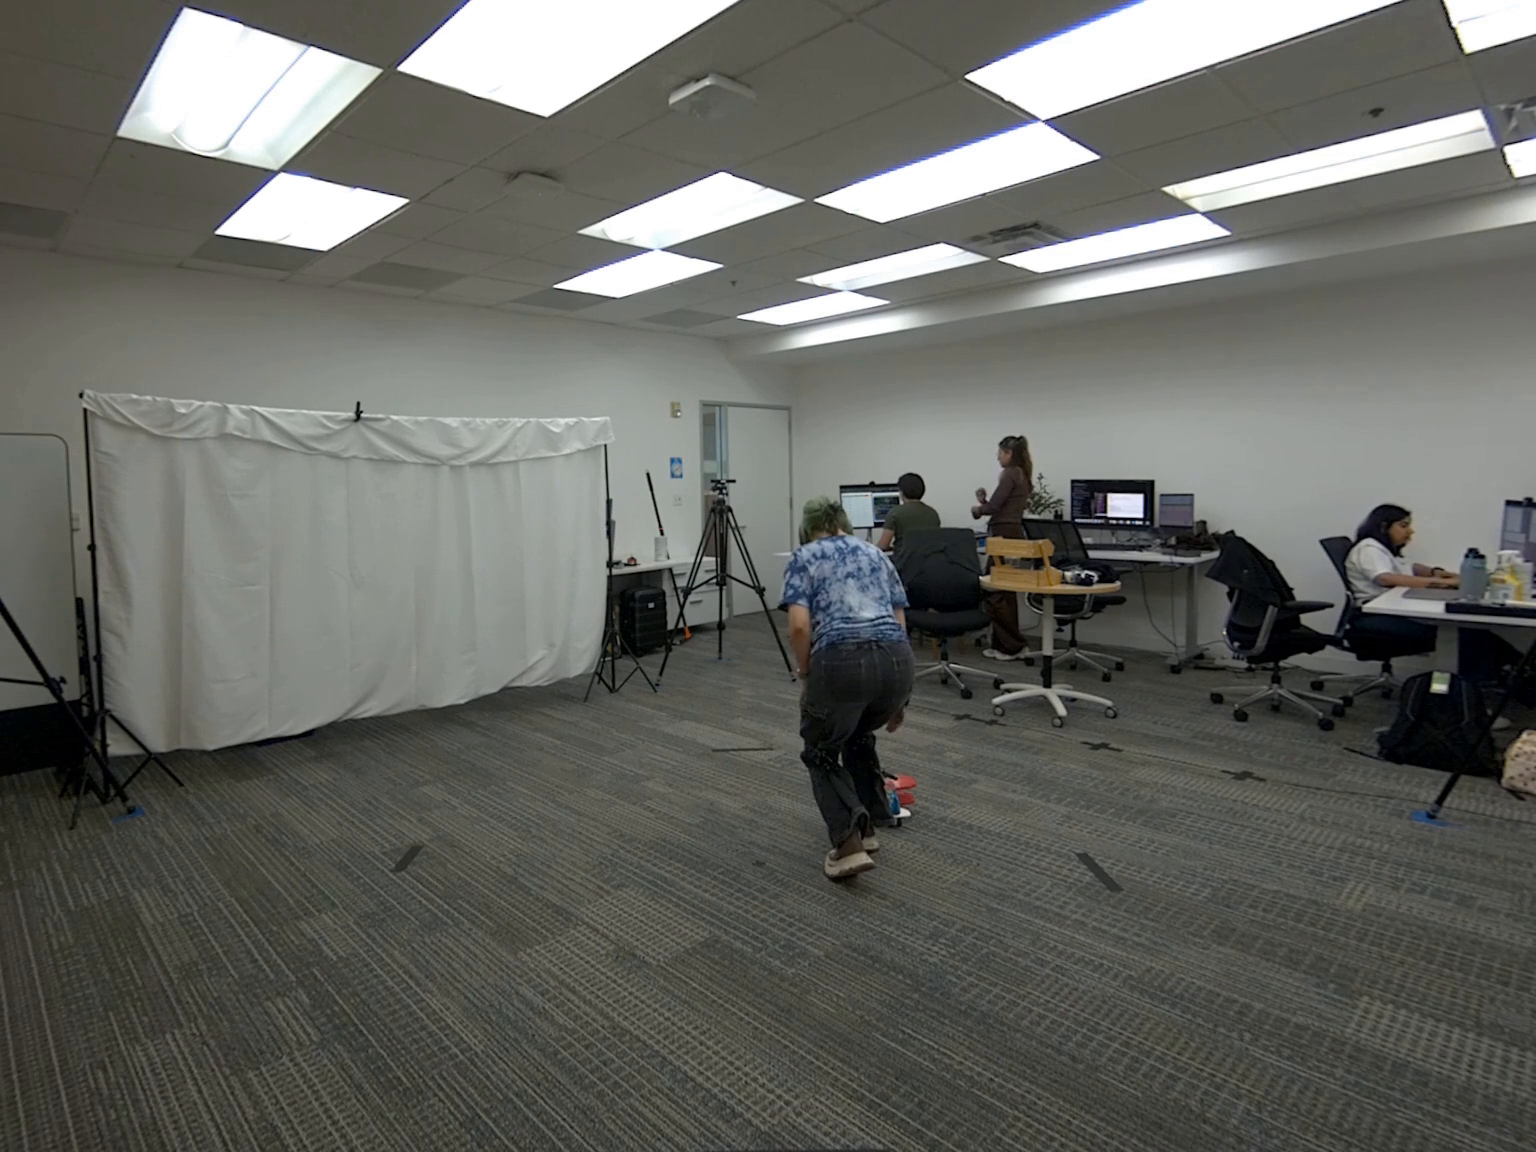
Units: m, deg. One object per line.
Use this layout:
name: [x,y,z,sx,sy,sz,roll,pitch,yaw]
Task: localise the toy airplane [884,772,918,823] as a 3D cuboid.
toy airplane: [0.513,0.922,3.509,0.245,0.156,0.267,-4,6,-34]
